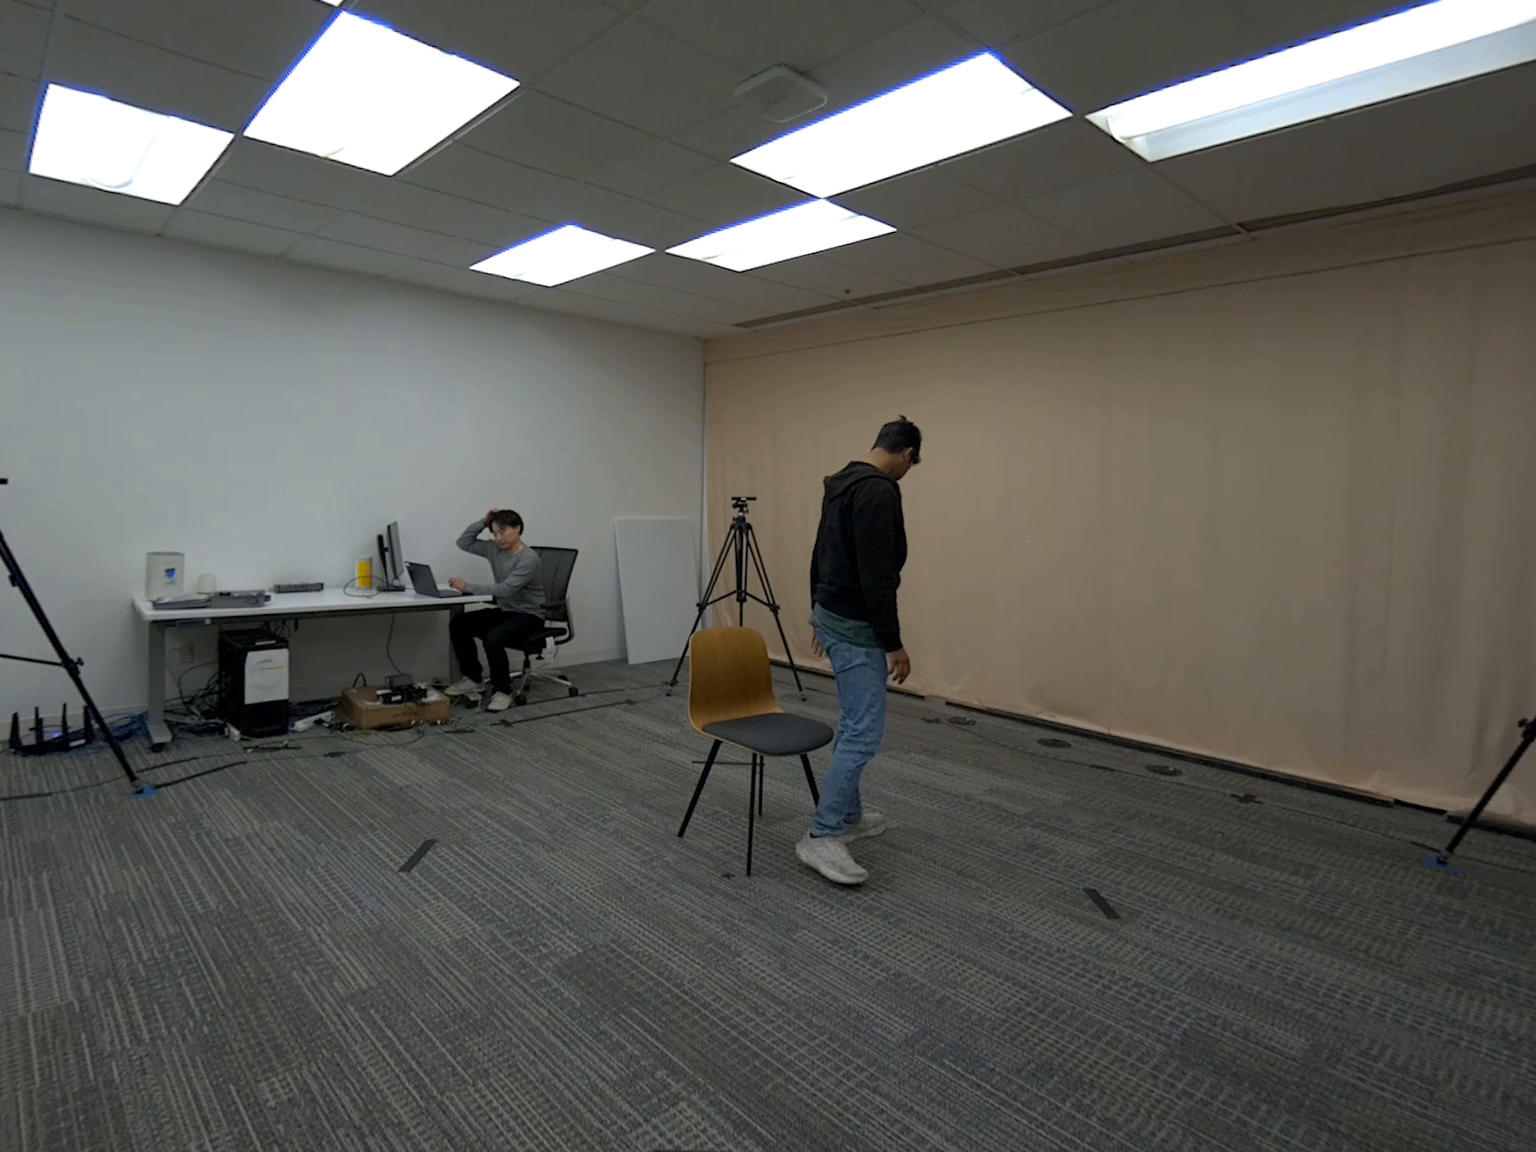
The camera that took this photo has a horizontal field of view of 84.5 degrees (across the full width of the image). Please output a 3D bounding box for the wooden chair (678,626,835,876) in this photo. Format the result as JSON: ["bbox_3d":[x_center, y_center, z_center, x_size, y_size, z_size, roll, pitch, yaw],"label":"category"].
[{"bbox_3d":[-0.044,0.657,3.376,0.467,0.878,0.535,-1,0,-39],"label":"wooden chair"}]
